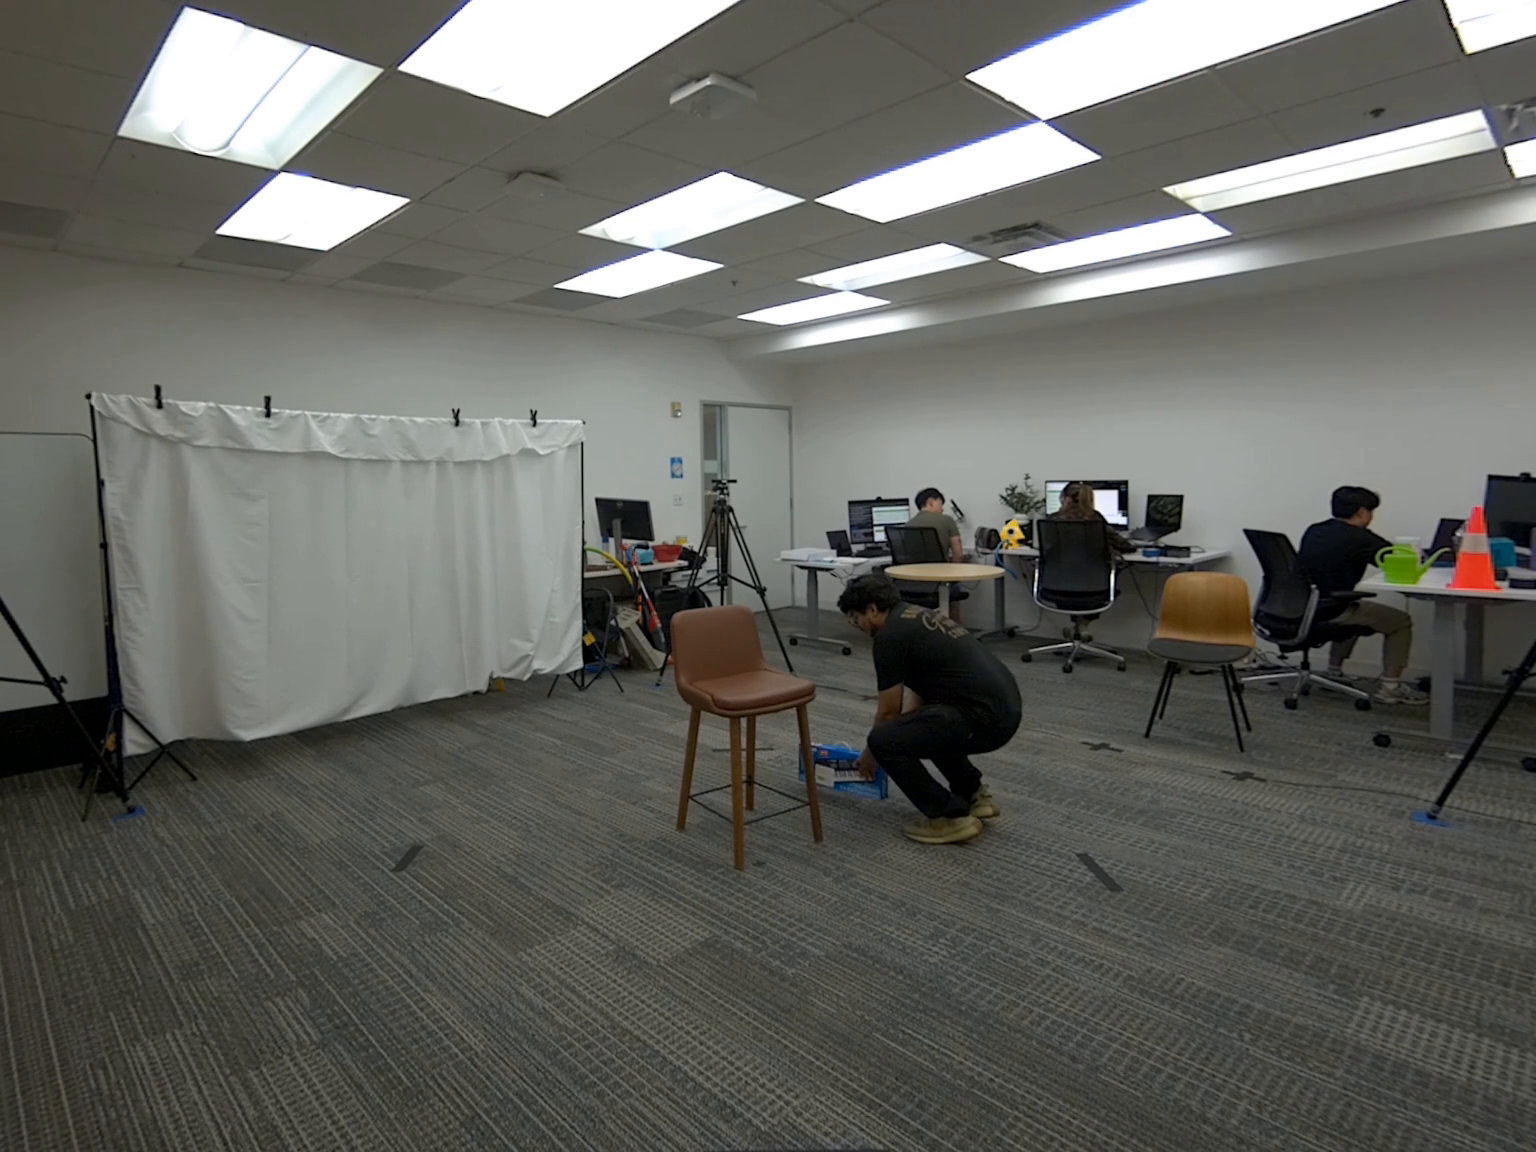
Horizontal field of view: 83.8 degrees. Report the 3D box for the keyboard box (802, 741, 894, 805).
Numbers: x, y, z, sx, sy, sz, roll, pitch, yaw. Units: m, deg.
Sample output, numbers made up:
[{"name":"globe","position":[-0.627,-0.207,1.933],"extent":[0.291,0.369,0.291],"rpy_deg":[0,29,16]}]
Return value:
[{"name":"keyboard box","position":[0.340,0.848,3.724],"extent":[0.450,0.176,0.057],"rpy_deg":[3,0,42]}]
